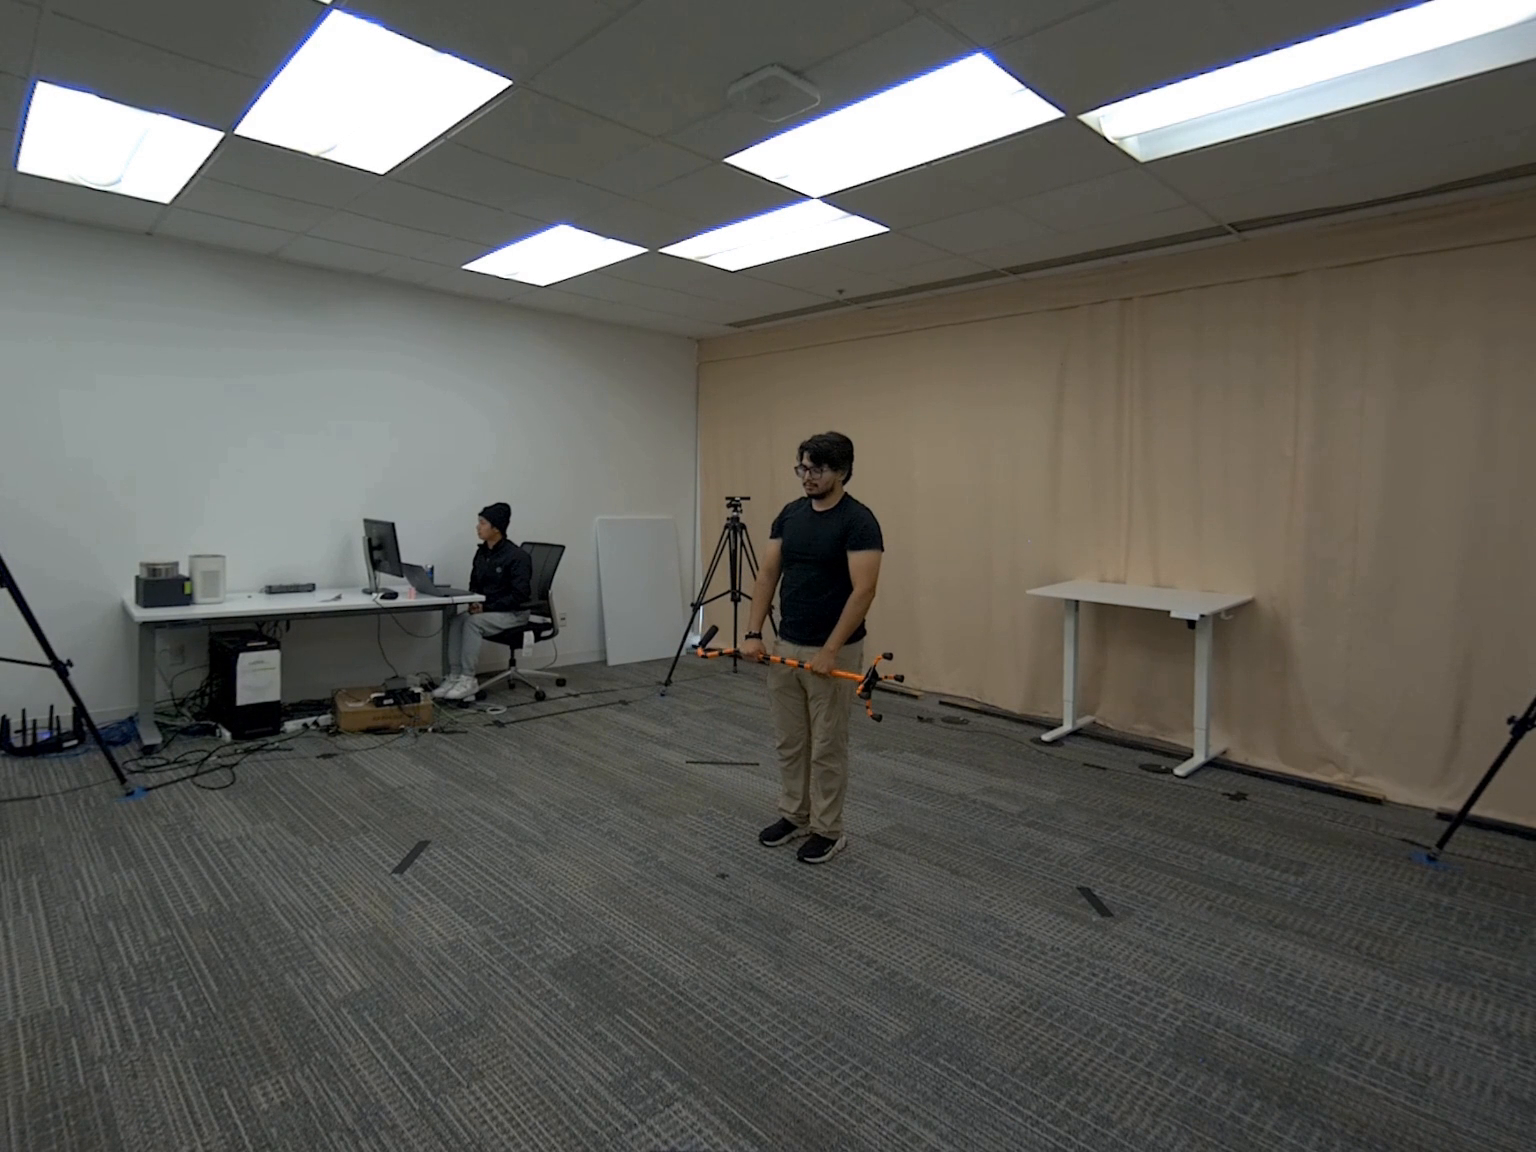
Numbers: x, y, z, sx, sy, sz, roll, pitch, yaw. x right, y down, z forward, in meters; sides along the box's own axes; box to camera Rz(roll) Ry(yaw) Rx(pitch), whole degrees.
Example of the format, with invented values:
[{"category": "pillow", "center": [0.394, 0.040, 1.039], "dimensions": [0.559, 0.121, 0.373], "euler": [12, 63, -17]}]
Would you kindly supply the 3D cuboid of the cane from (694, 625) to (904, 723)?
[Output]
[{"category": "cane", "center": [0.046, 0.349, 3.213], "dimensions": [0.932, 0.147, 0.207], "euler": [8, 50, 44]}]
